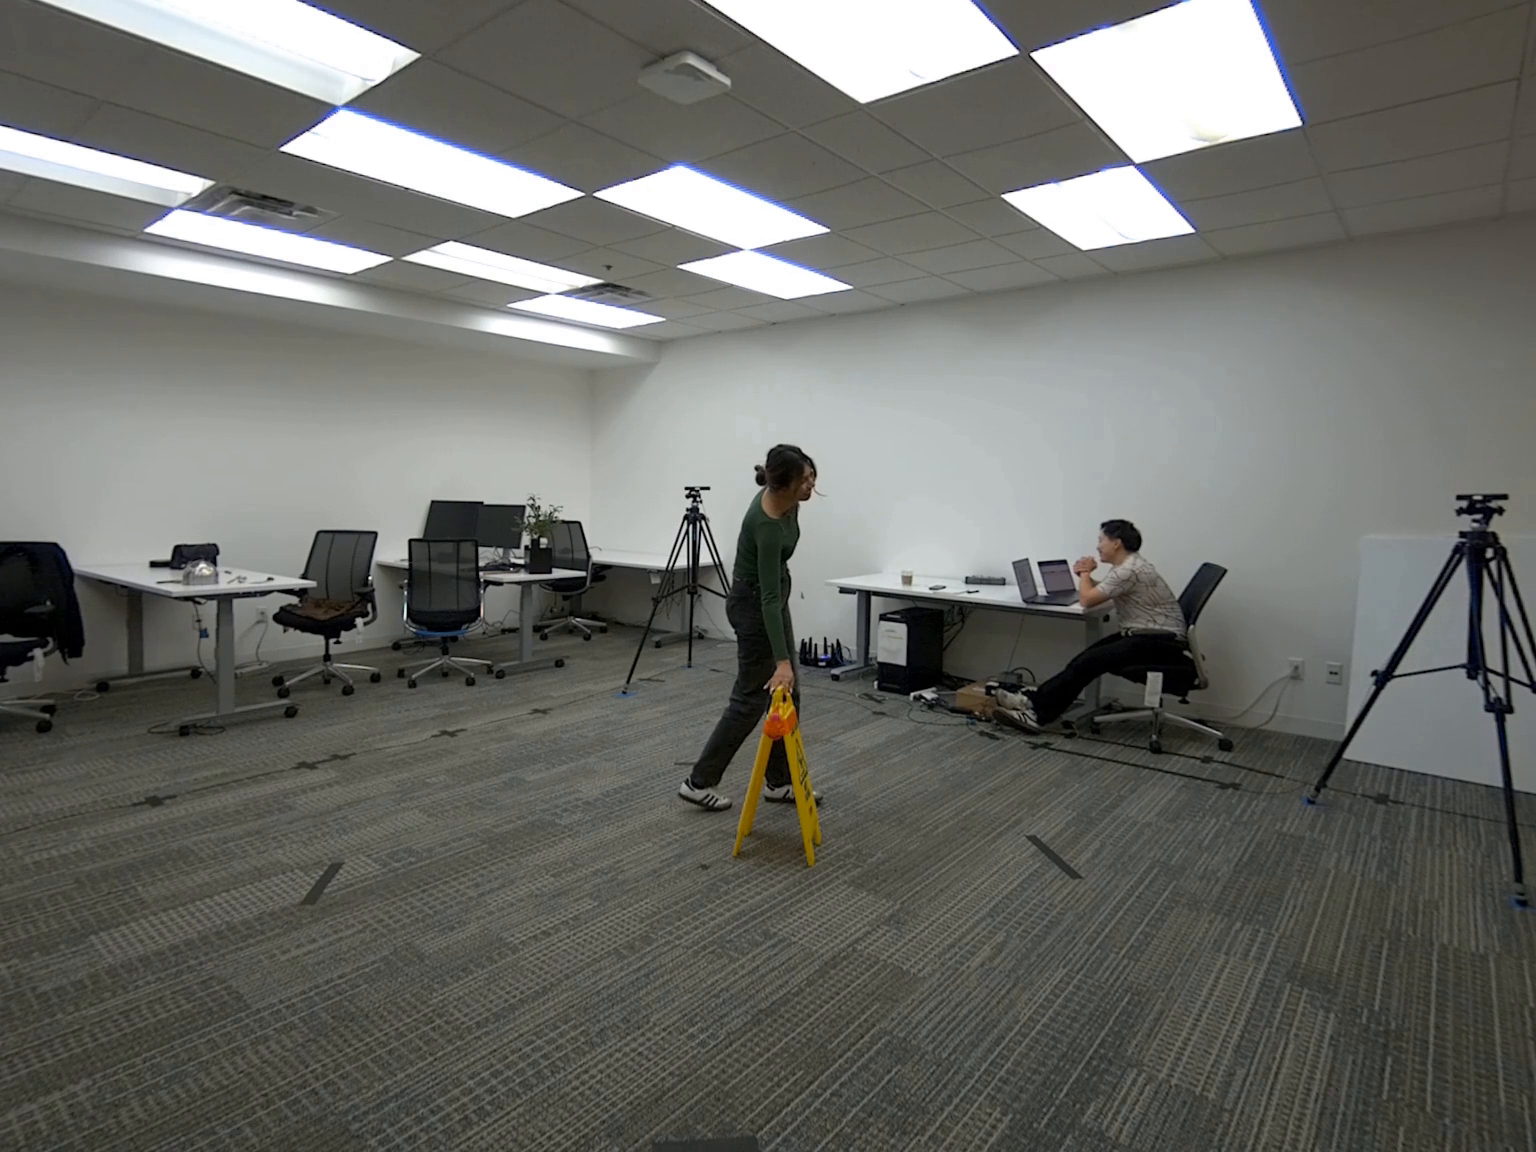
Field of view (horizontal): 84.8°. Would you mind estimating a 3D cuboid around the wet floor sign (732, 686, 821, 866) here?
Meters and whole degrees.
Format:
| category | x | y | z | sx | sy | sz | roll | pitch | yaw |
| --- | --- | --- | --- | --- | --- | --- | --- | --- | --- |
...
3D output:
| category | x | y | z | sx | sy | sz | roll | pitch | yaw |
| --- | --- | --- | --- | --- | --- | --- | --- | --- | --- |
| wet floor sign | 0.037 | 0.728 | 3.284 | 0.294 | 0.645 | 0.278 | 1 | 2 | 12 |
